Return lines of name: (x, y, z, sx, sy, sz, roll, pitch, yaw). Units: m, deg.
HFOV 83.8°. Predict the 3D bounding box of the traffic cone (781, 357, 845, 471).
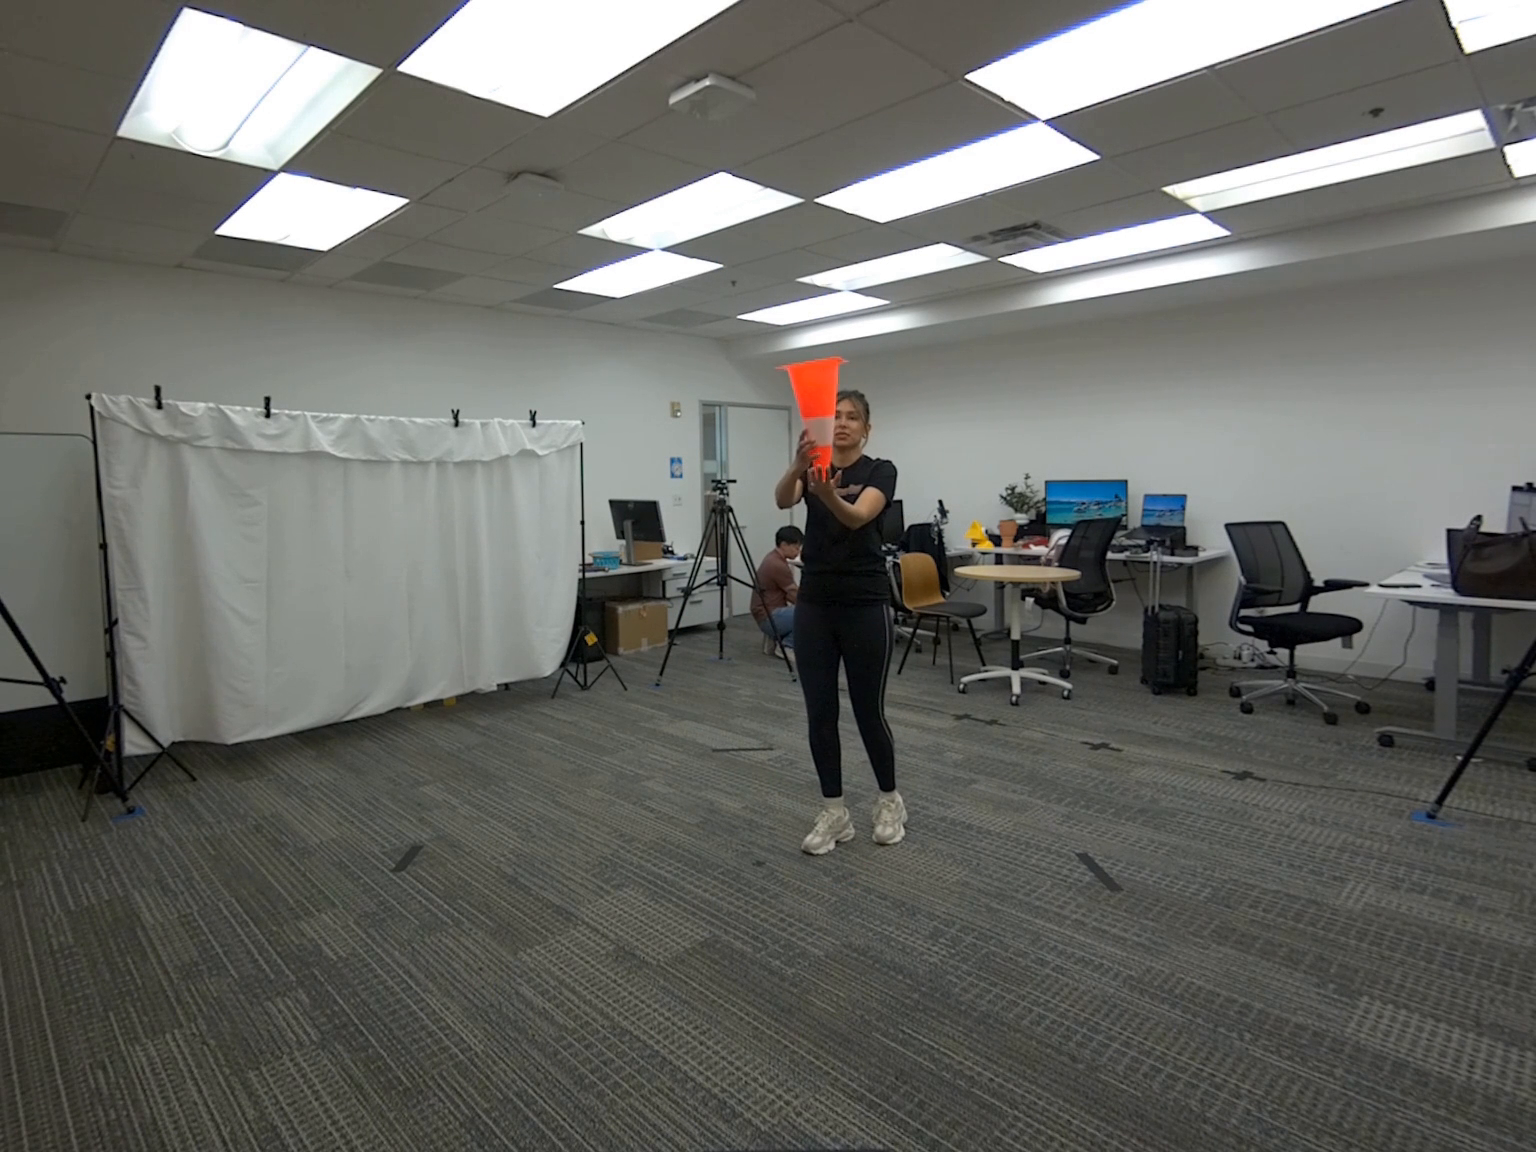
traffic cone: (0.174, -0.479, 2.688, 0.208, 0.381, 0.202, -4, 8, 17)
